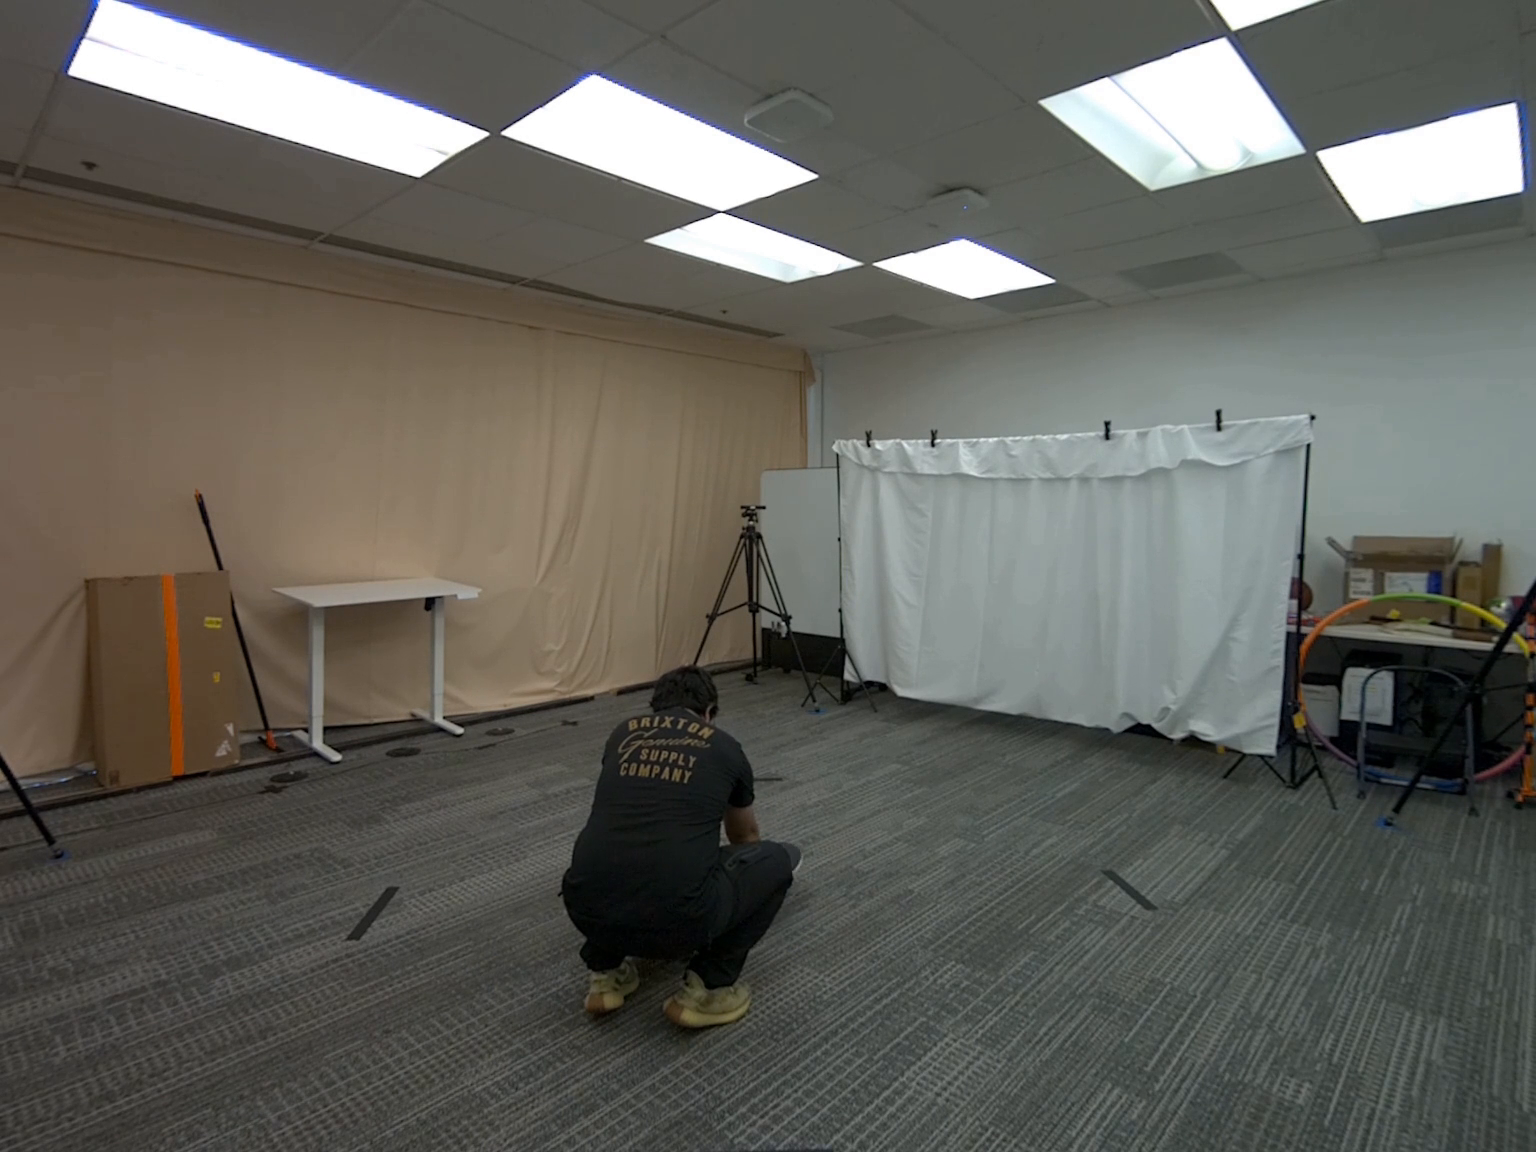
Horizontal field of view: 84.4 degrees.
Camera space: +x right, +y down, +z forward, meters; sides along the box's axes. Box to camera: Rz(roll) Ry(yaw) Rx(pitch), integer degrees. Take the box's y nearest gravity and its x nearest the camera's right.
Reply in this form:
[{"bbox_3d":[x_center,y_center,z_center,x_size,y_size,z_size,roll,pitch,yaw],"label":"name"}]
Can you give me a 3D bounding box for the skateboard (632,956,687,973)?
[{"bbox_3d":[-0.173,1.084,2.775,0.200,0.109,0.763,10,15,43],"label":"skateboard"}]
